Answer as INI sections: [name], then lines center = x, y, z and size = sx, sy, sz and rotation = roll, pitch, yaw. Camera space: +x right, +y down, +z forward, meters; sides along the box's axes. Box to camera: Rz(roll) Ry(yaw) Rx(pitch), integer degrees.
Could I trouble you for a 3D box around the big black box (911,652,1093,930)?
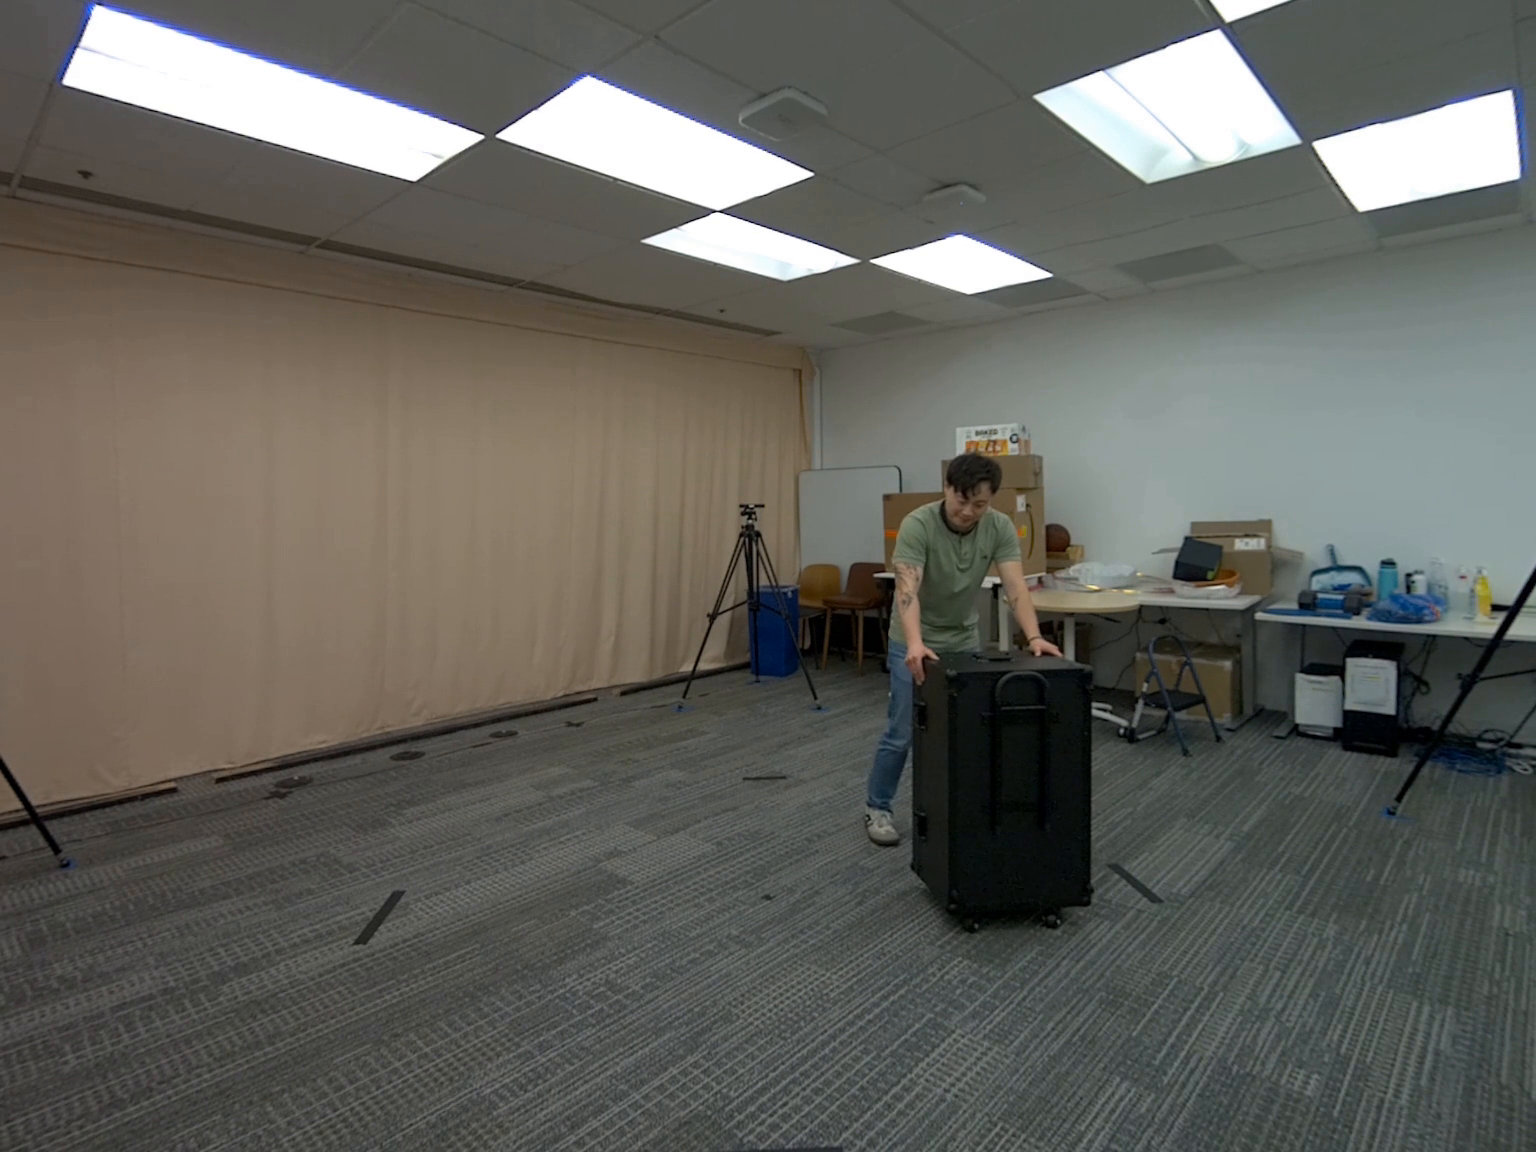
[big black box]
center = 0.796, 0.715, 2.859
size = 0.517, 0.859, 0.400
rotation = 0, 4, -7
